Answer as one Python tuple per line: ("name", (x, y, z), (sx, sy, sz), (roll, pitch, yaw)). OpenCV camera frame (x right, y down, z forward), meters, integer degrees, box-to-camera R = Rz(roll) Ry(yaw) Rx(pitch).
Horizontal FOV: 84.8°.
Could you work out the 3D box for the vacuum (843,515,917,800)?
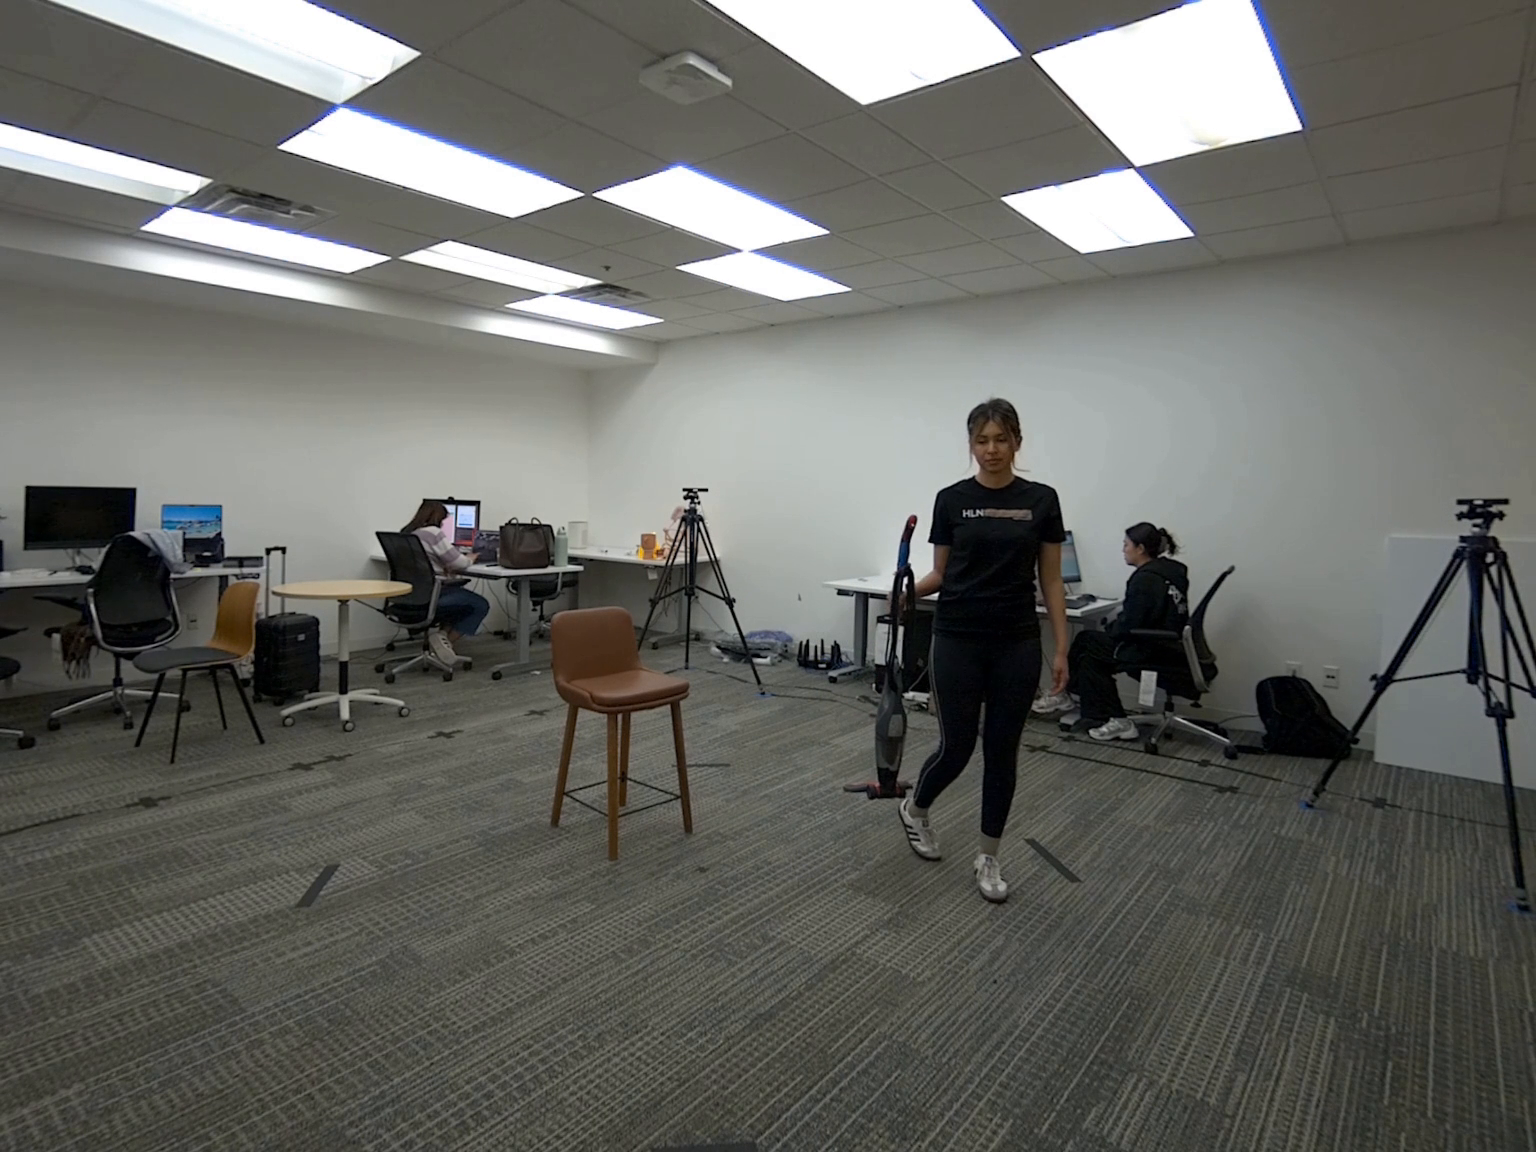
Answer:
("vacuum", (0.439, 0.296, 2.931), (0.249, 1.034, 0.148), (-1, 17, -15))
